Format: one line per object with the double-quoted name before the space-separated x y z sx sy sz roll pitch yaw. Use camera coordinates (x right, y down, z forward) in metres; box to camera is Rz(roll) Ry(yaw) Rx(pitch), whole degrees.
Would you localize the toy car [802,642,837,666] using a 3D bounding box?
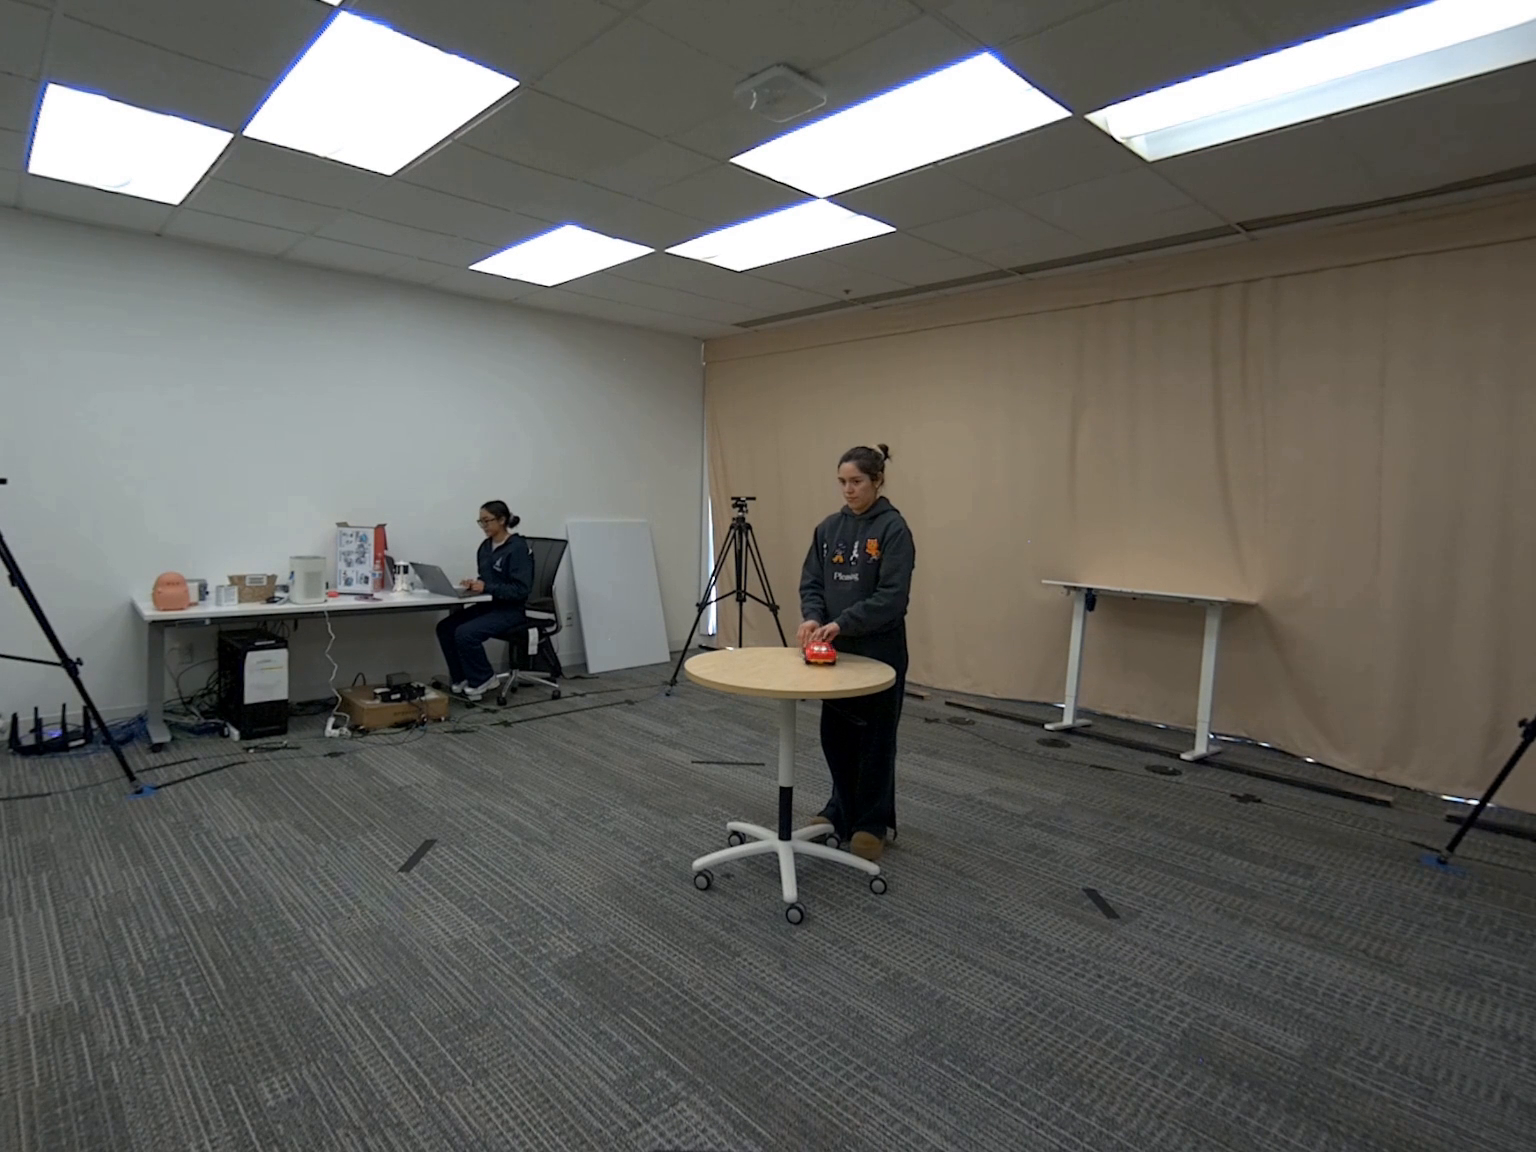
"toy car" 0.183 0.293 3.177 0.130 0.084 0.253 2 -8 0
